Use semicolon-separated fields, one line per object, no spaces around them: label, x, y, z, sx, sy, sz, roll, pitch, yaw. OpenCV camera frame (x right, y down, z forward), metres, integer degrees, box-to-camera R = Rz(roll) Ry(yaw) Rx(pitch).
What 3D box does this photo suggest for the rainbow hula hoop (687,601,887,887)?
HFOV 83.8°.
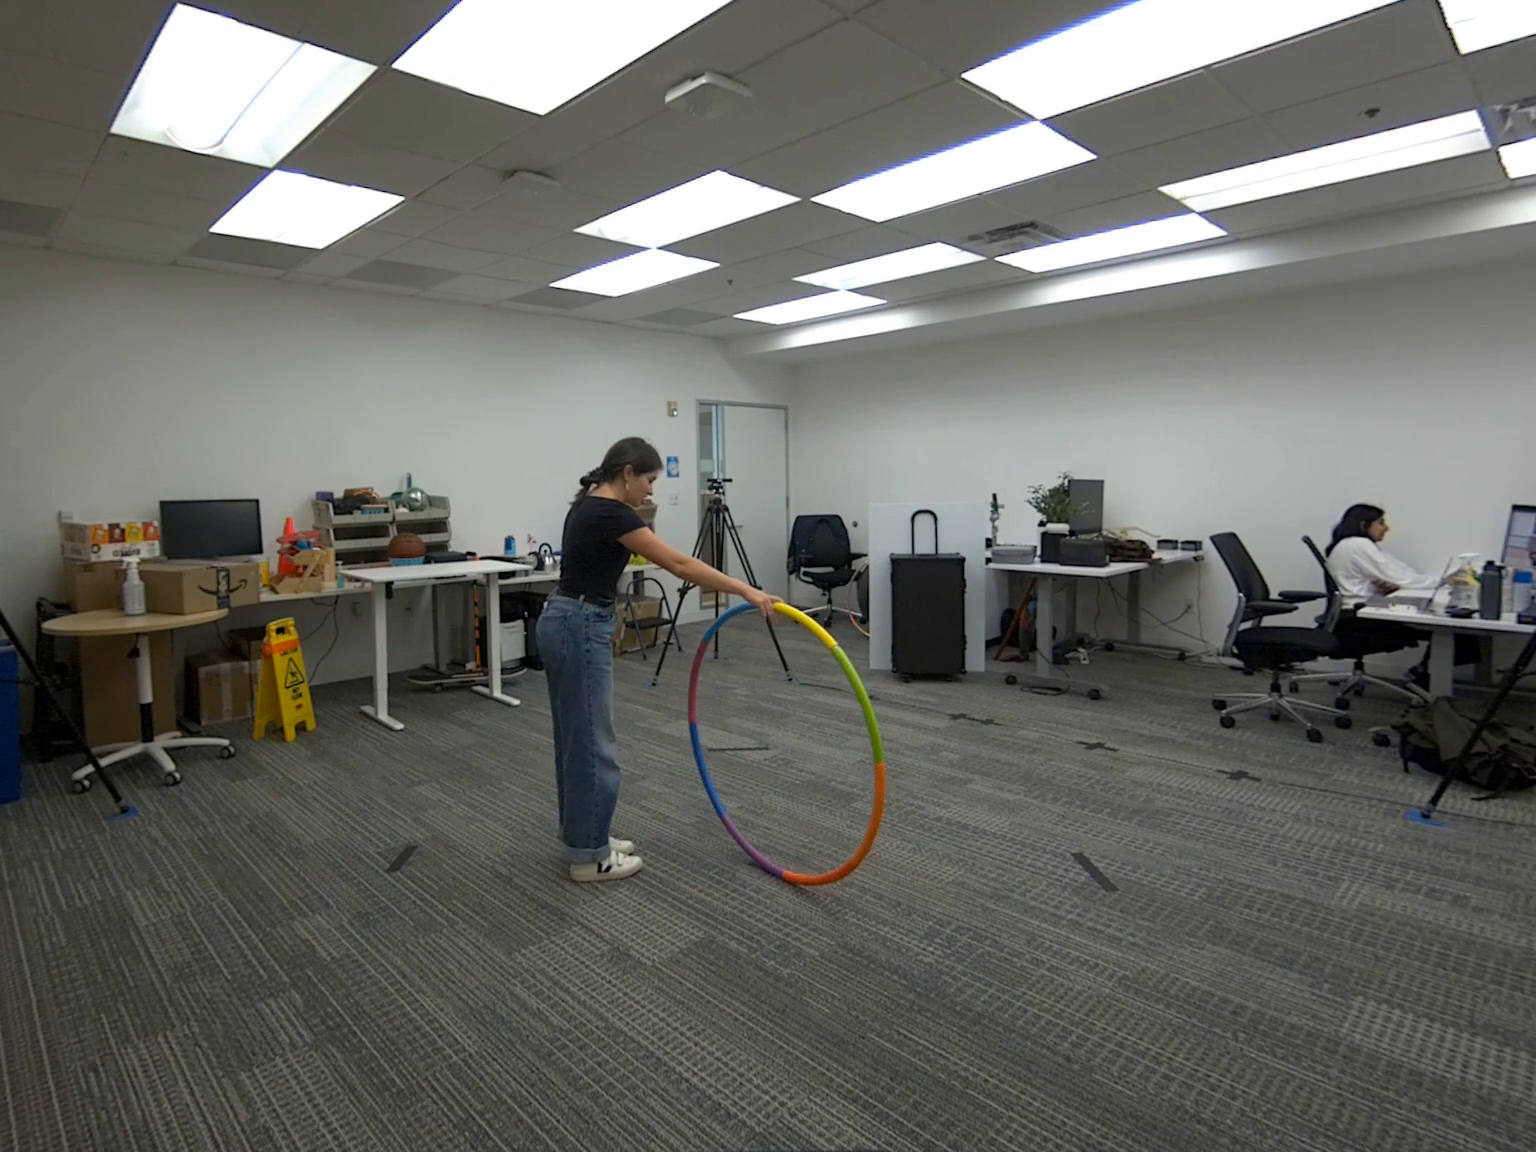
rainbow hula hoop;0.021;0.577;2.979;0.034;0.974;1.008;-5;6;-39
